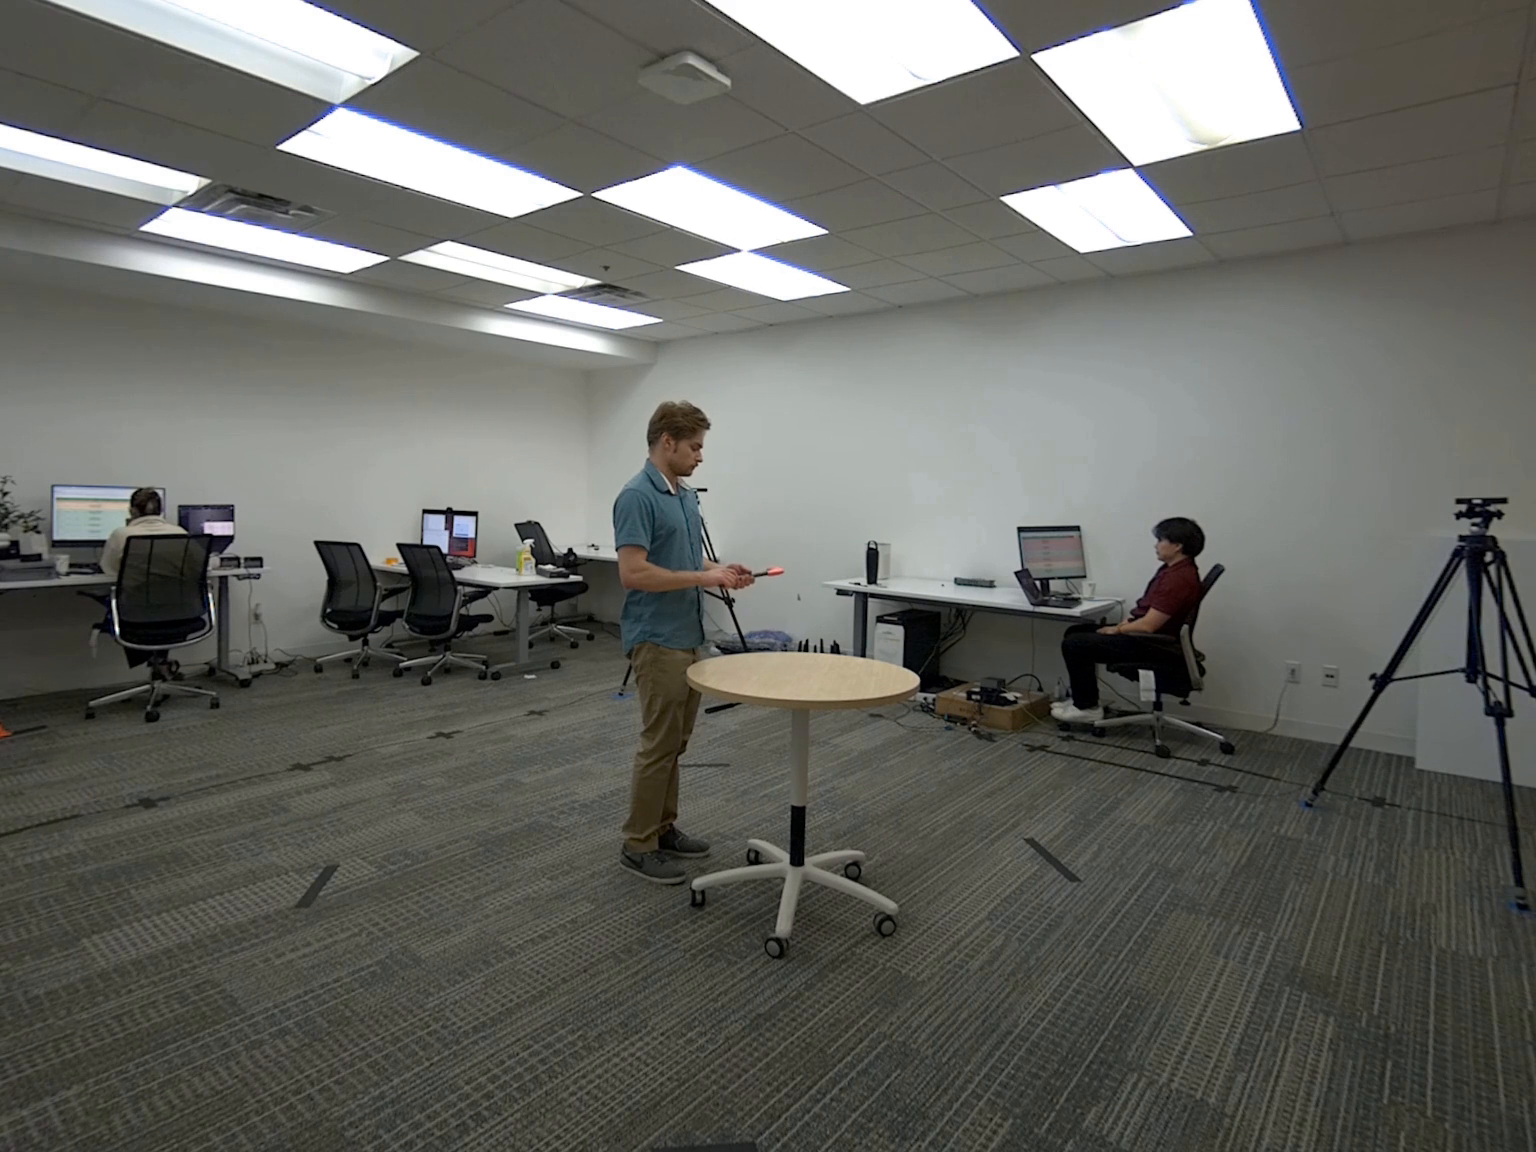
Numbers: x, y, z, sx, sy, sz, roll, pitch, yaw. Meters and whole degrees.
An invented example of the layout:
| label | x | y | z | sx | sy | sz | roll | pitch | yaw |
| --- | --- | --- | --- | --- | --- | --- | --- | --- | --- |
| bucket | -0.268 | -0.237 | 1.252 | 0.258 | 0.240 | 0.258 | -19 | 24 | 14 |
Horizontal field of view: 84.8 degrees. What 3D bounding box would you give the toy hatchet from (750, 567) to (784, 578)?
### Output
| label | x | y | z | sx | sy | sz | roll | pitch | yaw |
| --- | --- | --- | --- | --- | --- | --- | --- | --- | --- |
| toy hatchet | -0.070 | 0.005 | 3.057 | 0.264 | 0.029 | 0.135 | -17 | 11 | -40 |
